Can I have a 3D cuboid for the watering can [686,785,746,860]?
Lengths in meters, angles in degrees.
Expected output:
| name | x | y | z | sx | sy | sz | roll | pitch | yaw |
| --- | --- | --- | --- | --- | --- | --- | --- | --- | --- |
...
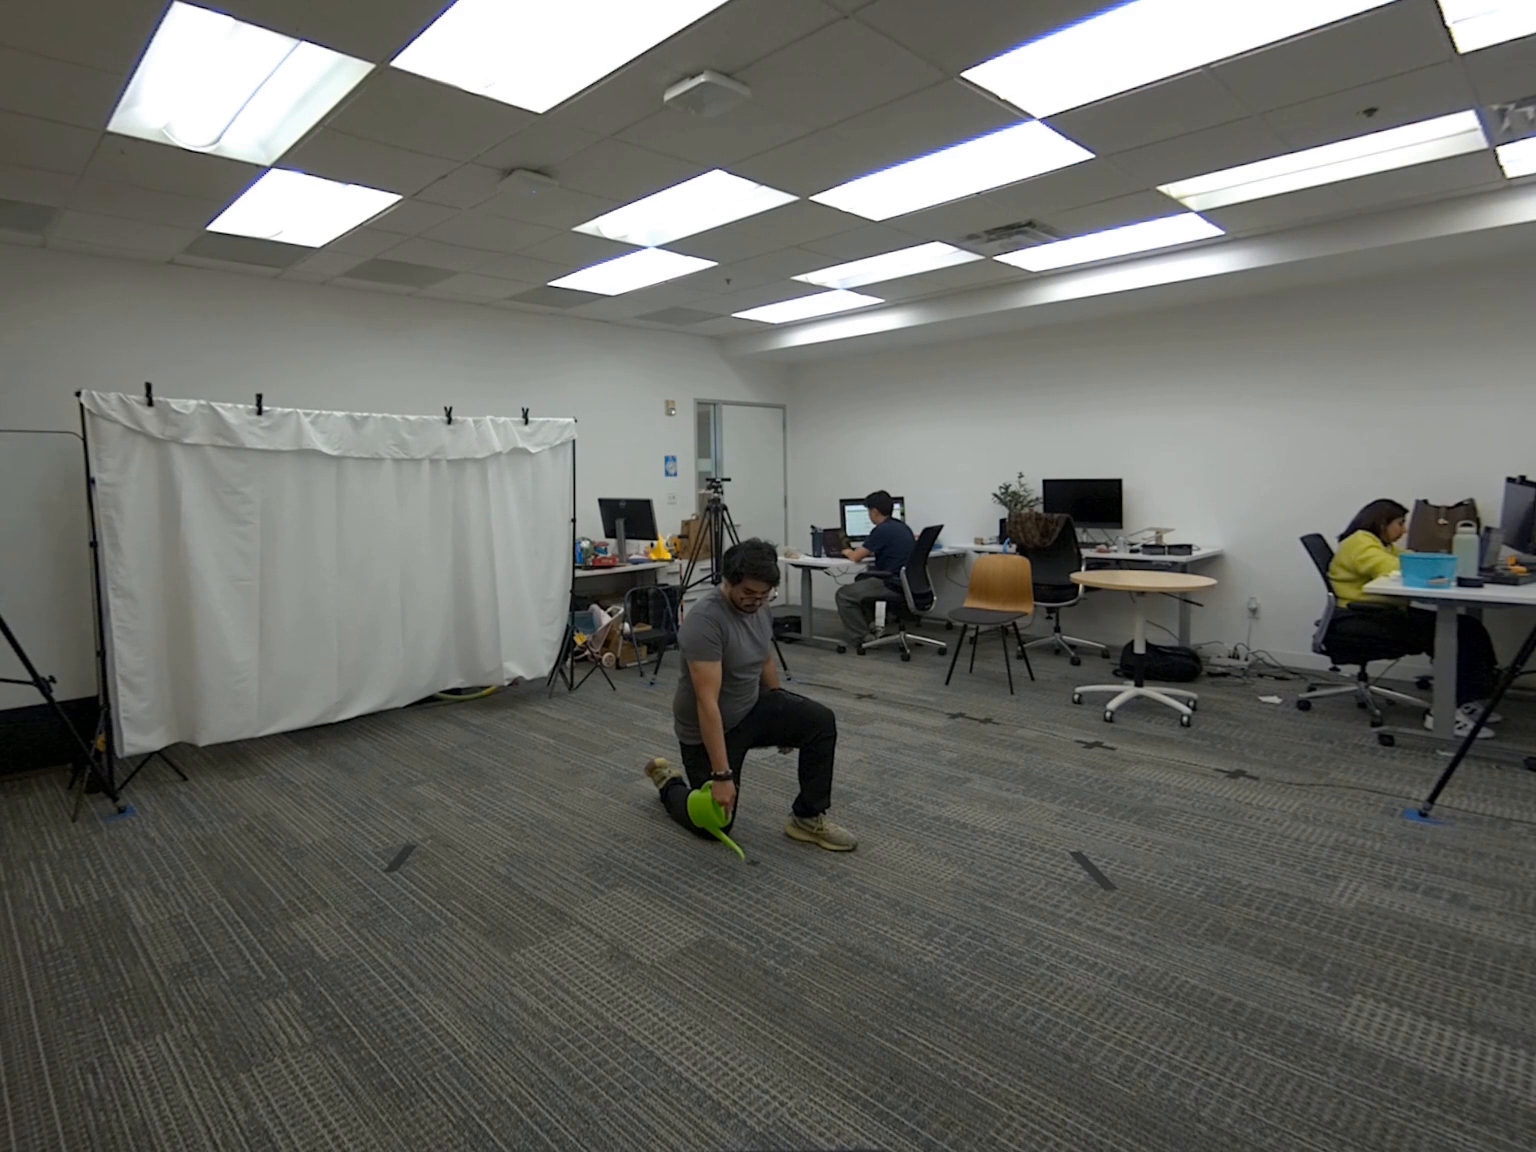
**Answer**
| name | x | y | z | sx | sy | sz | roll | pitch | yaw |
| --- | --- | --- | --- | --- | --- | --- | --- | --- | --- |
| watering can | -0.193 | 0.869 | 3.012 | 0.095 | 0.282 | 0.180 | 4 | -17 | -43 |
